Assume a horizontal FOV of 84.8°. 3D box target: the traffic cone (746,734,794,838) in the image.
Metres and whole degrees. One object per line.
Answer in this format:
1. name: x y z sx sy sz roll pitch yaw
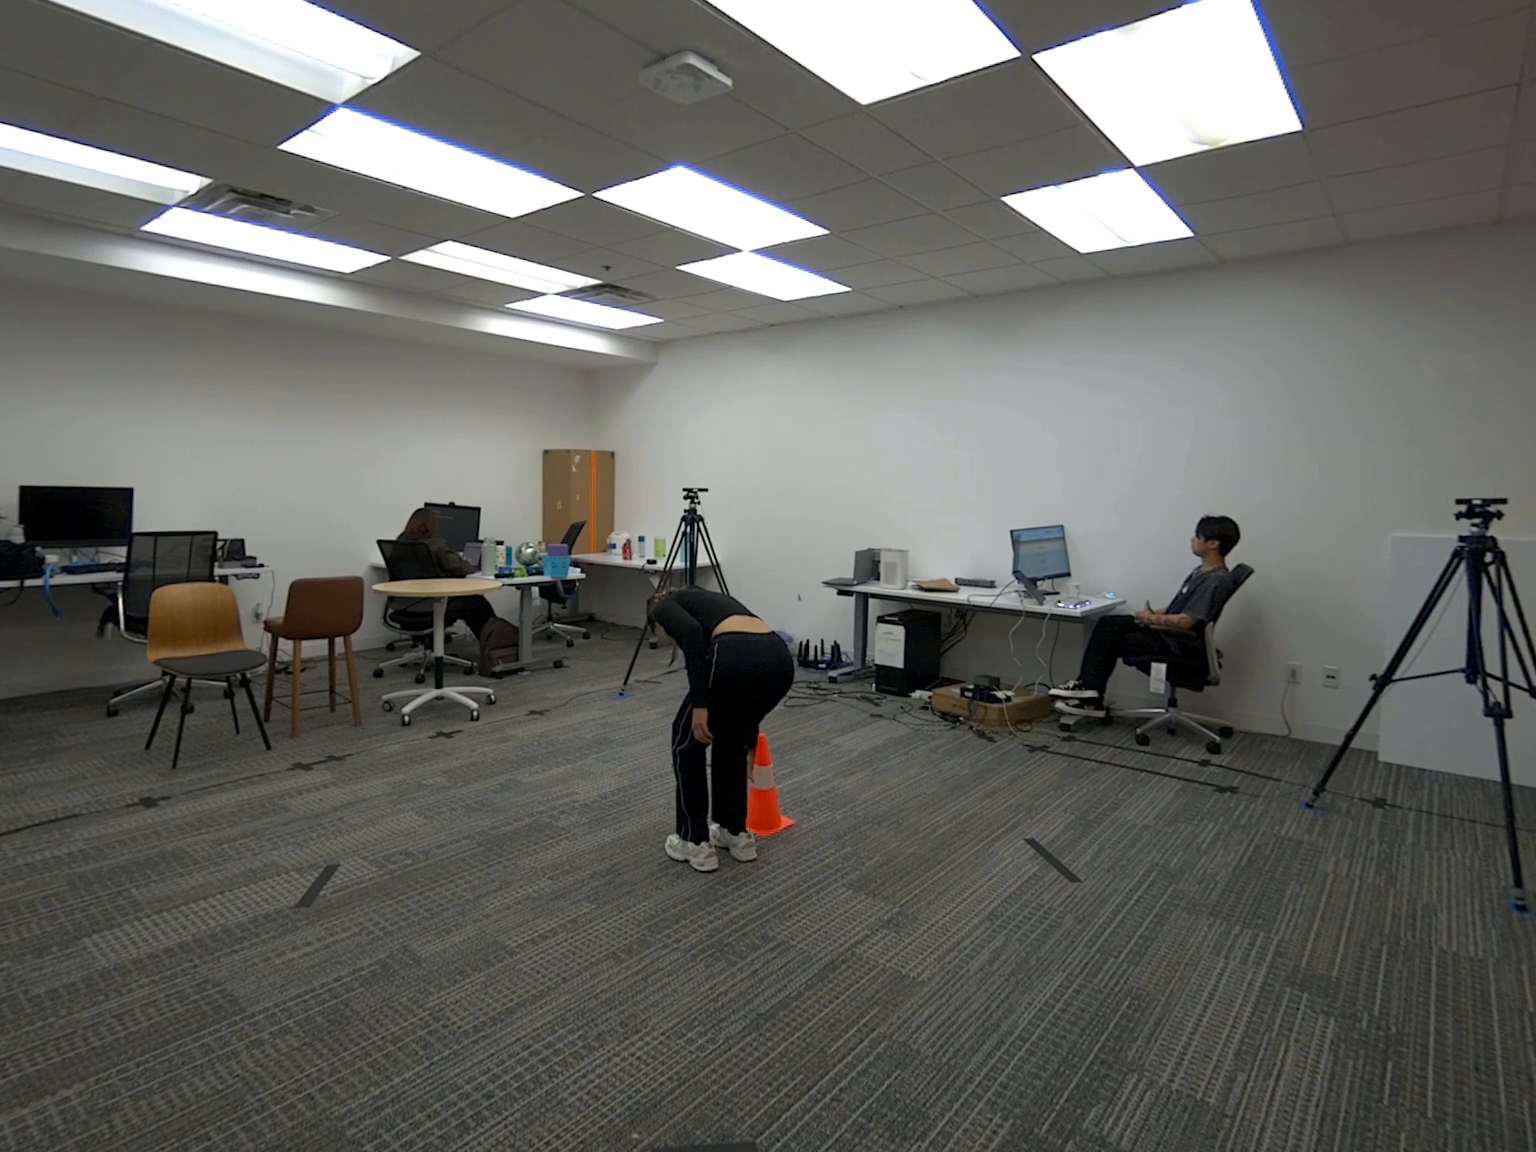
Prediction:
1. traffic cone: -0.031 0.841 3.531 0.197 0.381 0.212 -6 9 -42
